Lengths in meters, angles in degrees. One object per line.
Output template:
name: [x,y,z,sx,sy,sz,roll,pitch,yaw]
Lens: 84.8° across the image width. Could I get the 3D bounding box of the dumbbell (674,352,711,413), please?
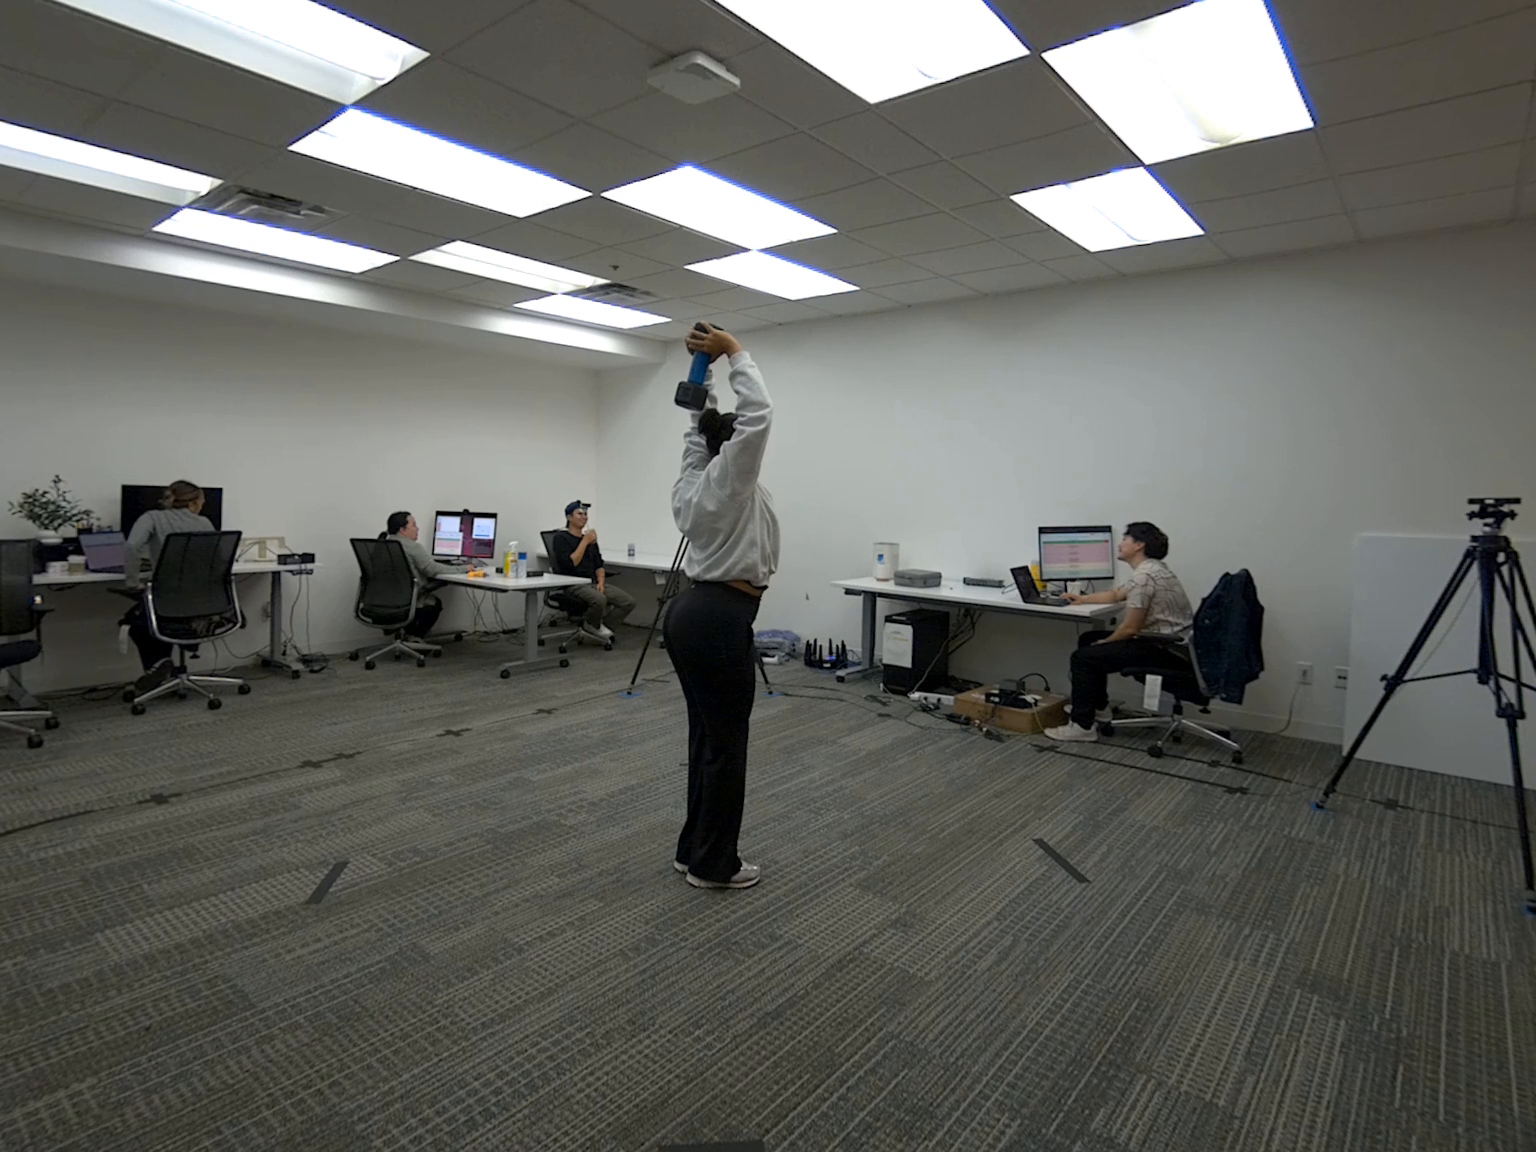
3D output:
dumbbell: [-0.248,-0.724,2.949,0.126,0.293,0.106,15,0,22]
